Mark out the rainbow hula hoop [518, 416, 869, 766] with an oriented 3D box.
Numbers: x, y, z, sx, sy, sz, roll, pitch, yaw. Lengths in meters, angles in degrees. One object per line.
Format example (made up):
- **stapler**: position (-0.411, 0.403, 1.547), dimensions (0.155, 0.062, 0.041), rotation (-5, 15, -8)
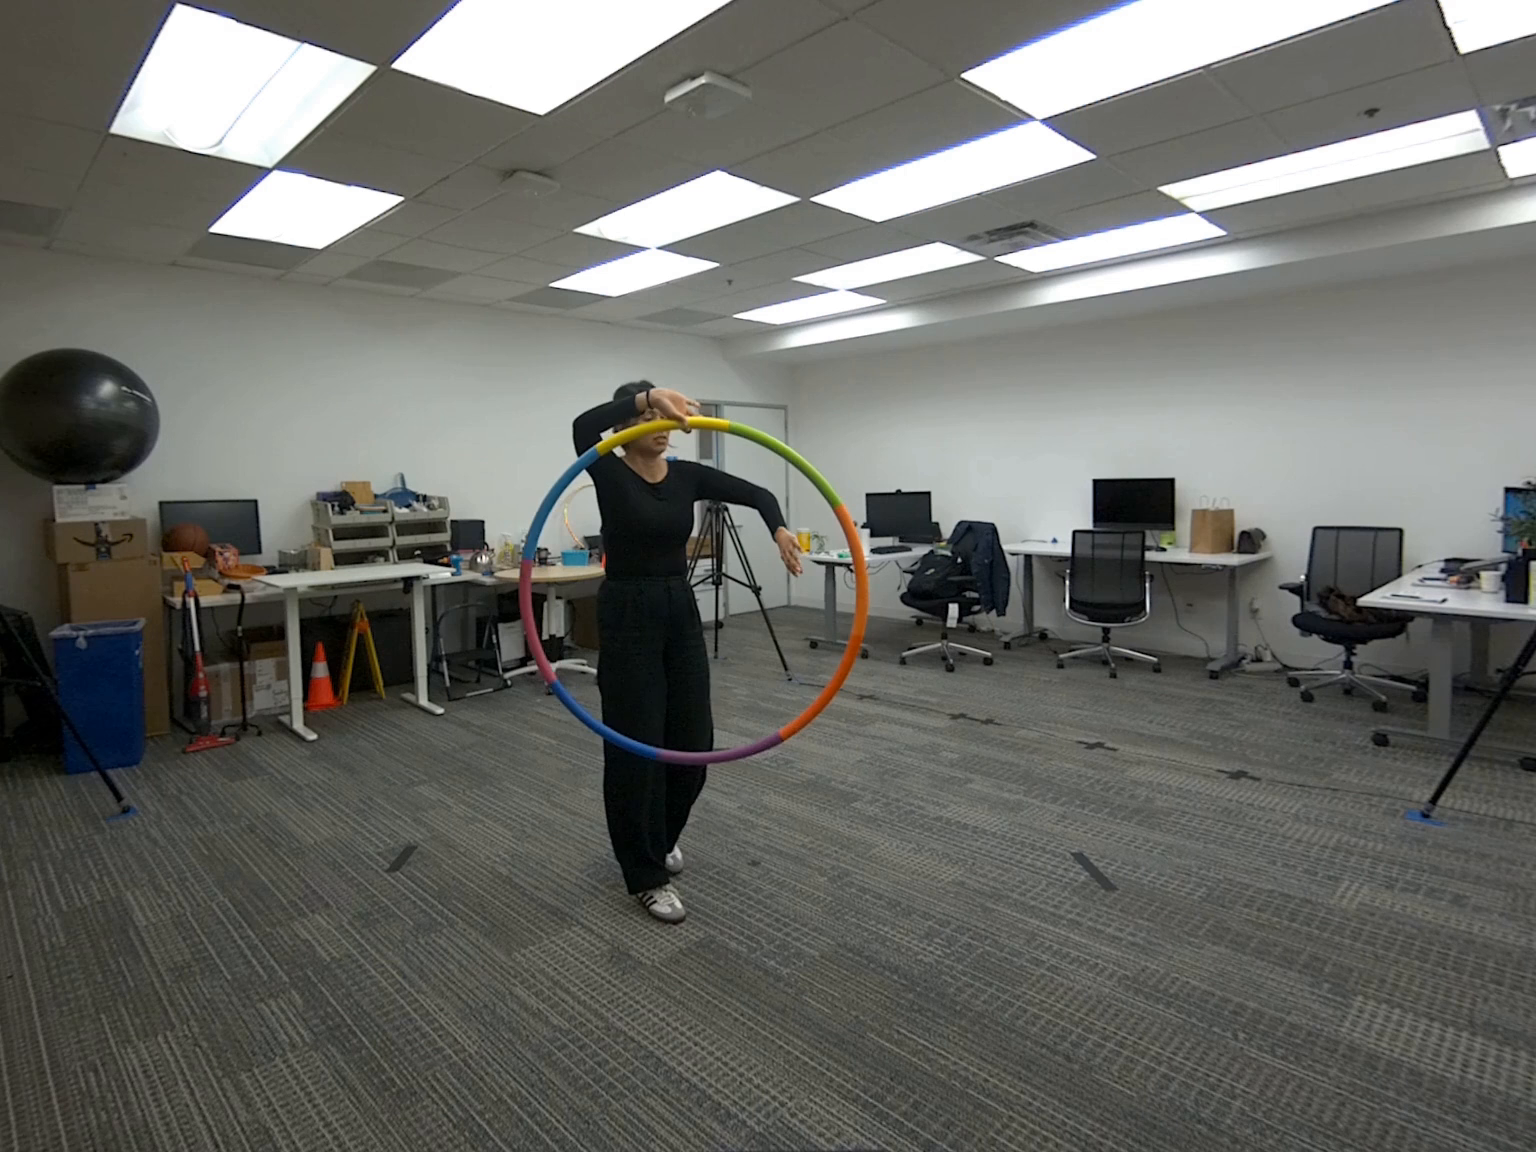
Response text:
- **rainbow hula hoop**: position (-0.207, 0.051, 2.389), dimensions (0.988, 0.980, 0.052), rotation (-1, 5, 3)
